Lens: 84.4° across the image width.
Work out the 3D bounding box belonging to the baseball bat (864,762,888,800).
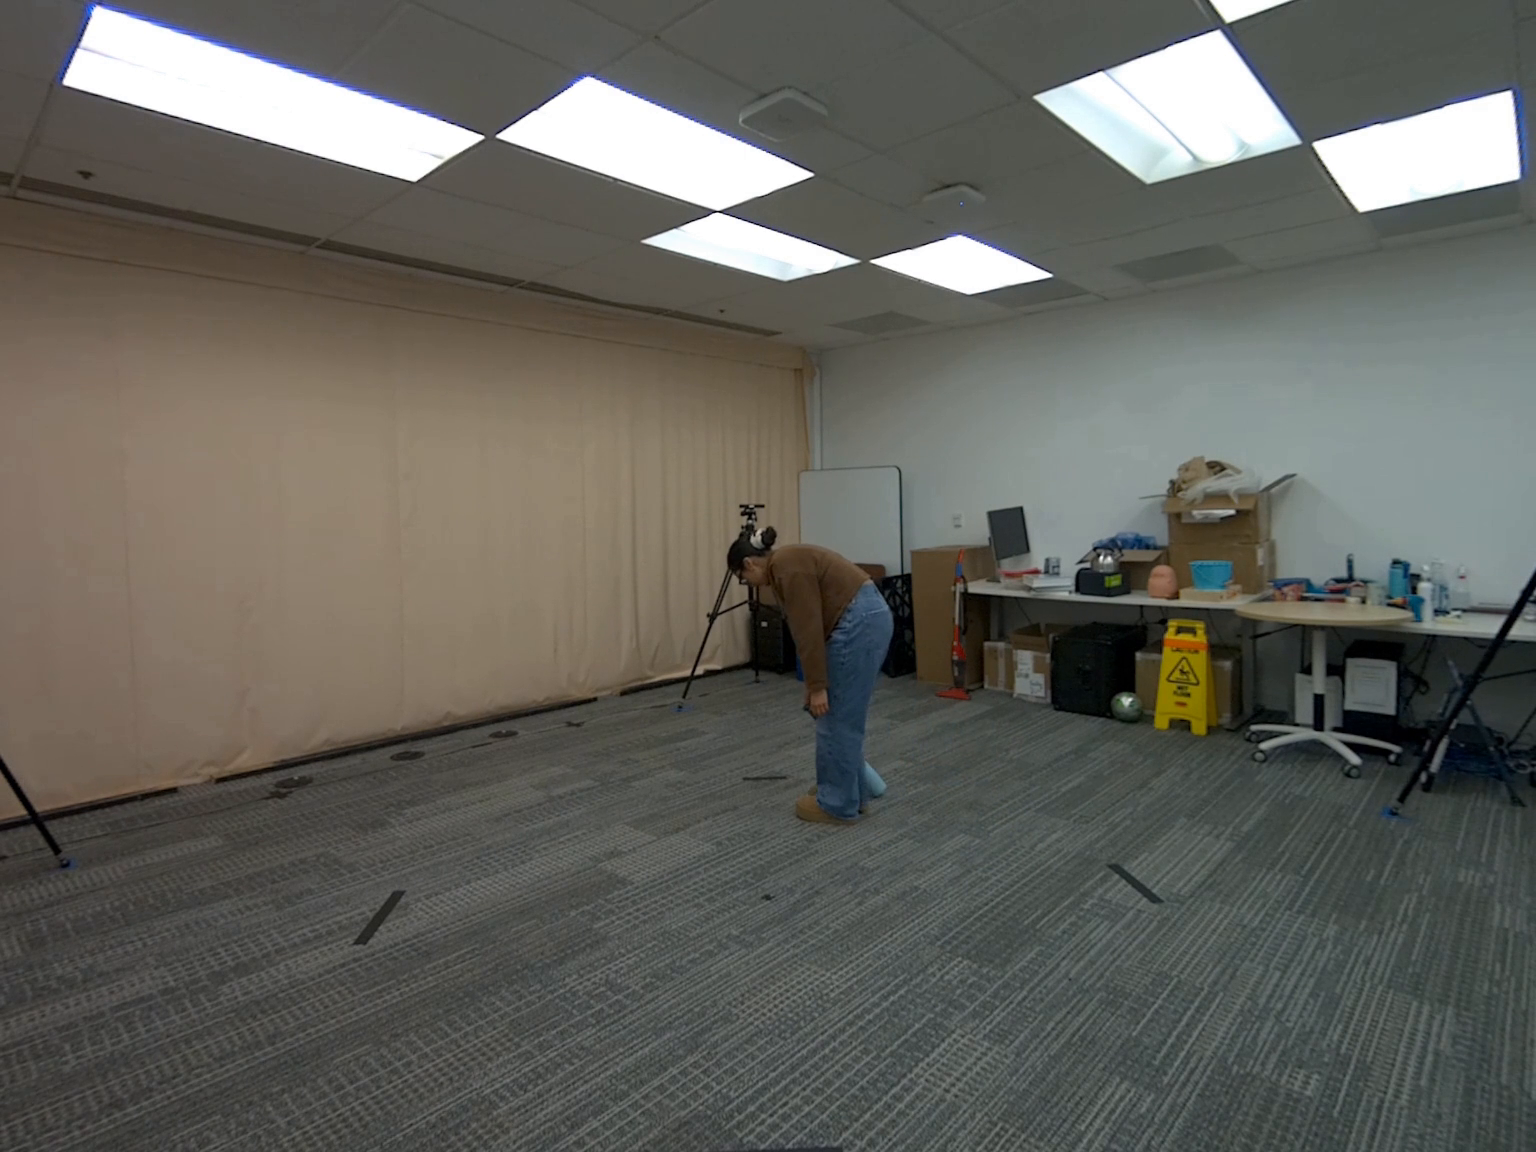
[{"bbox_3d":[0.363,0.825,4.010,0.089,0.546,0.089,-41,-5,-5],"label":"baseball bat"}]
